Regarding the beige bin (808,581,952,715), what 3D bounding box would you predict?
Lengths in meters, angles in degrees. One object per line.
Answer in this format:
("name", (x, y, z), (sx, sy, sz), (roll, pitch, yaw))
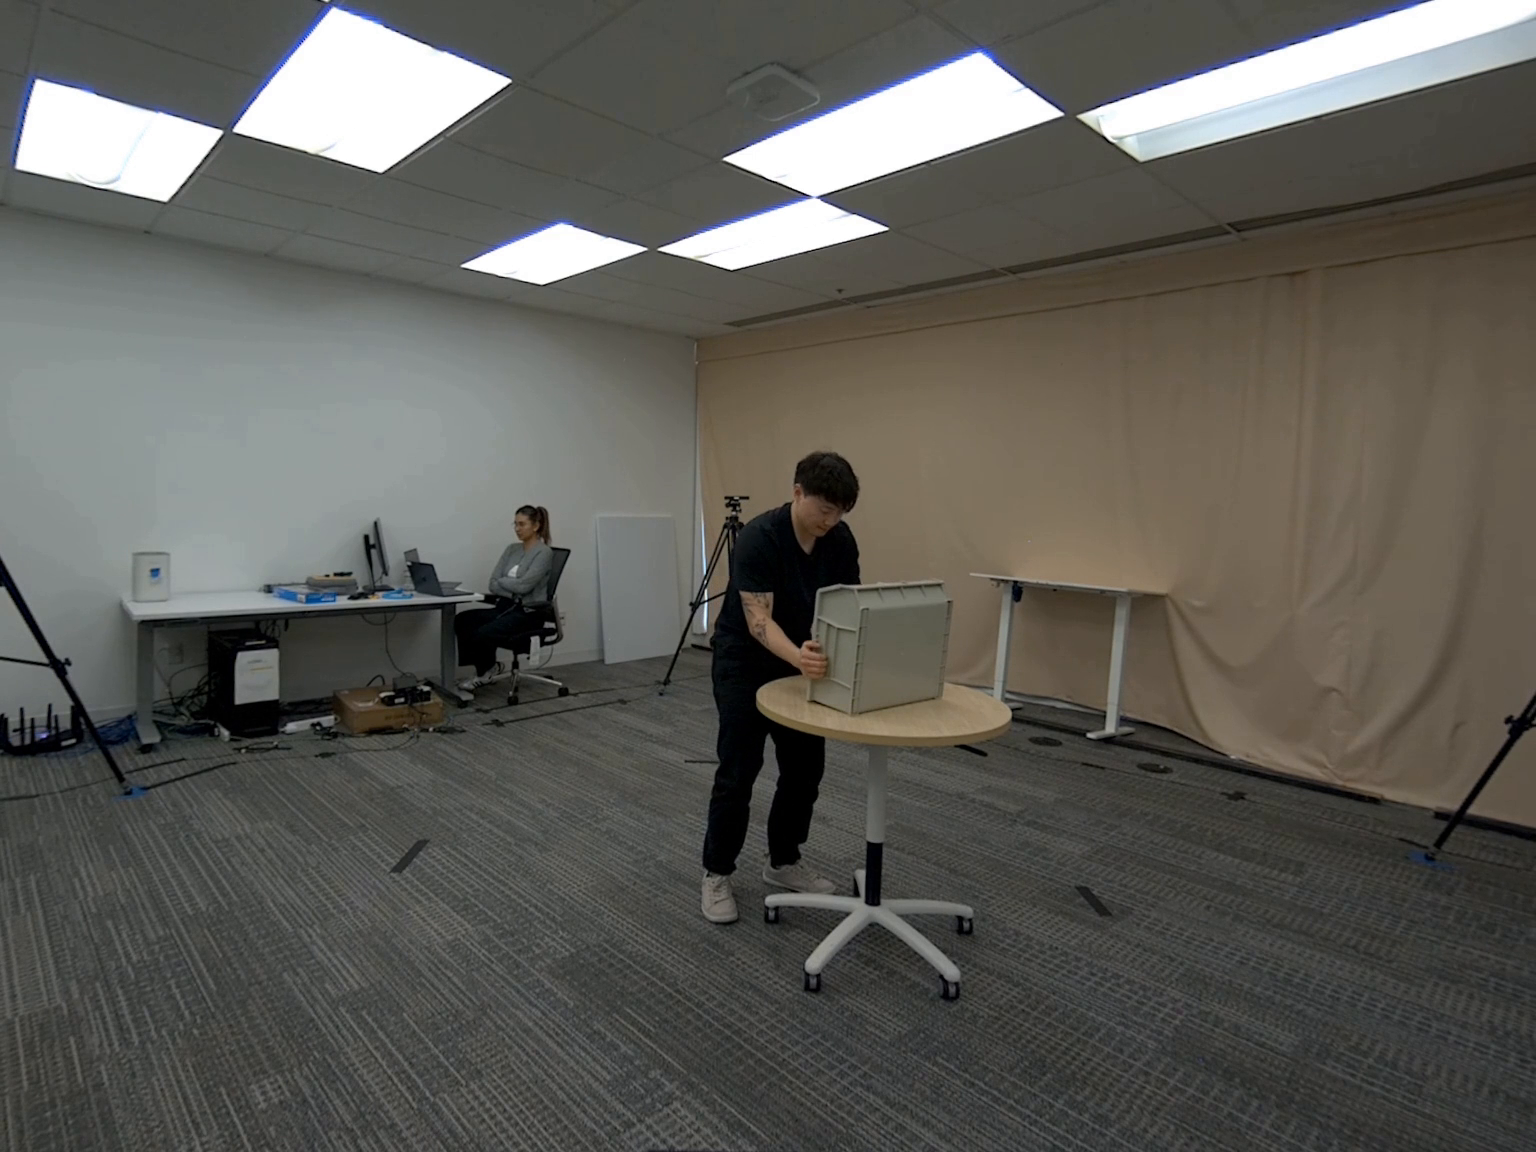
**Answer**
("beige bin", (0.338, 0.201, 2.552), (0.413, 0.375, 0.194), (-2, 11, -38))
